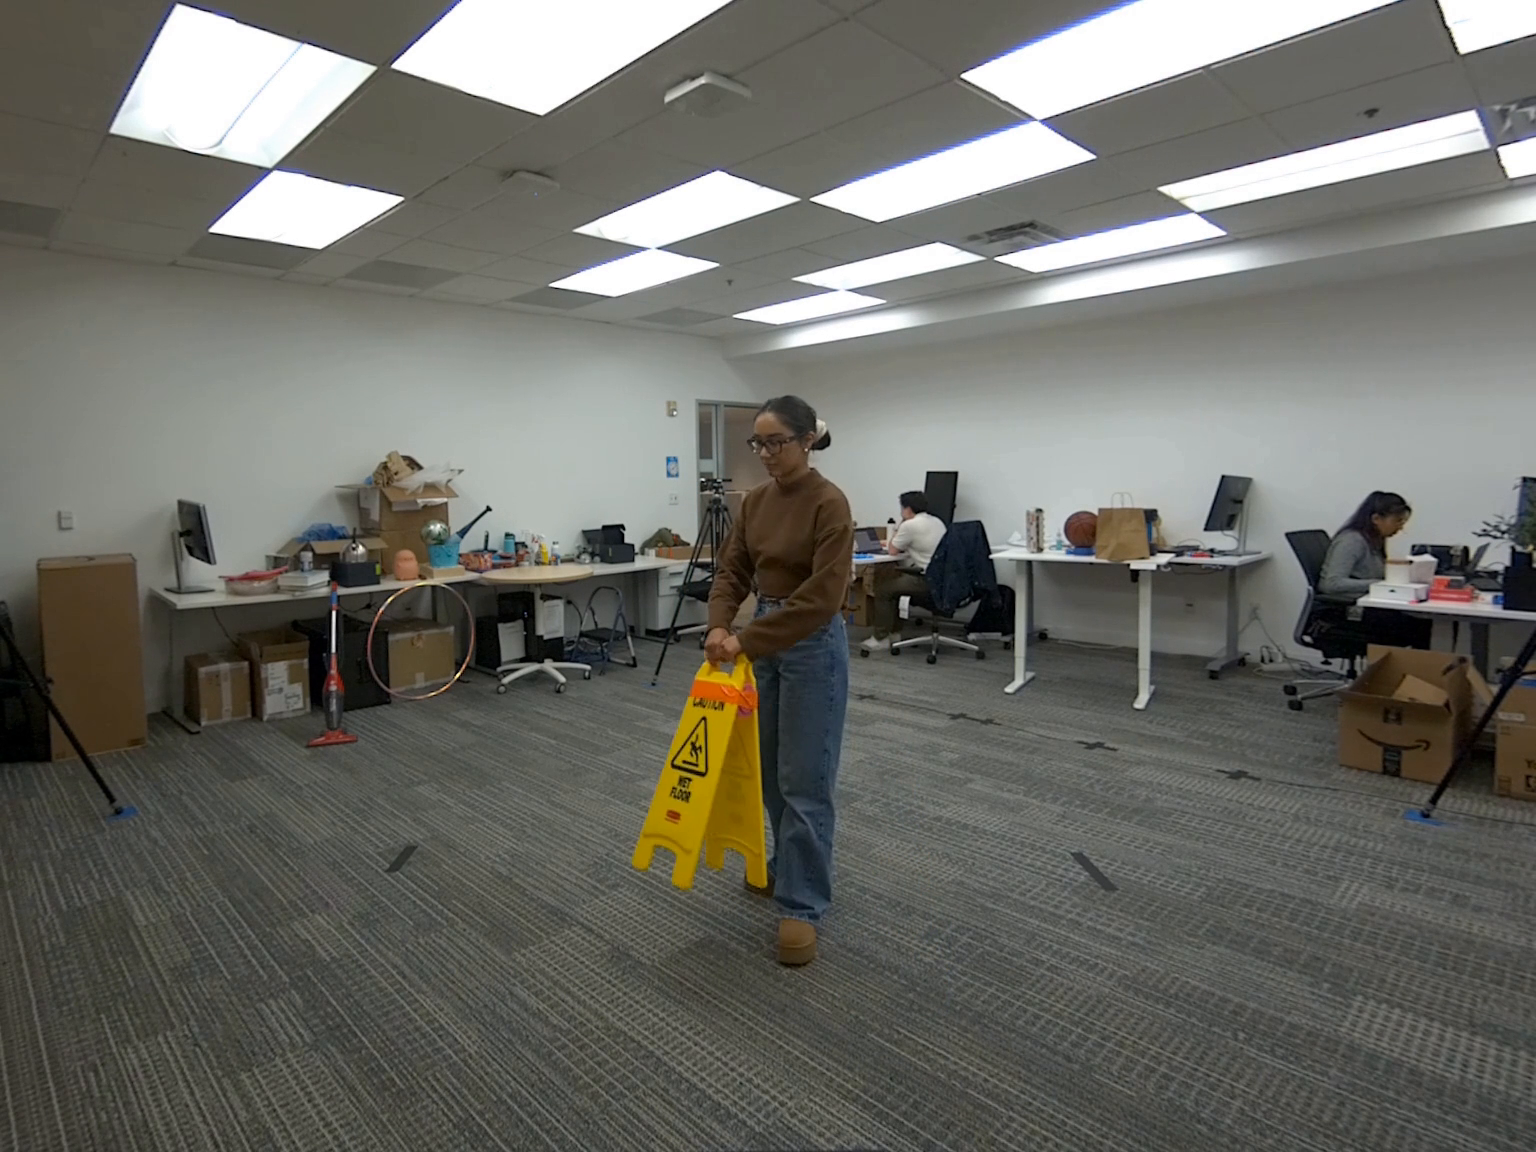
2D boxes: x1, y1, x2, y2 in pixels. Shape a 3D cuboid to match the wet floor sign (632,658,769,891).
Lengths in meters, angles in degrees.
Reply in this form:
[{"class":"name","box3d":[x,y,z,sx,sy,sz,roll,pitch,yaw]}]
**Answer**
[{"class":"wet floor sign","box3d":[-0.146,0.524,2.441,0.280,0.651,0.289,14,-13,-37]}]
